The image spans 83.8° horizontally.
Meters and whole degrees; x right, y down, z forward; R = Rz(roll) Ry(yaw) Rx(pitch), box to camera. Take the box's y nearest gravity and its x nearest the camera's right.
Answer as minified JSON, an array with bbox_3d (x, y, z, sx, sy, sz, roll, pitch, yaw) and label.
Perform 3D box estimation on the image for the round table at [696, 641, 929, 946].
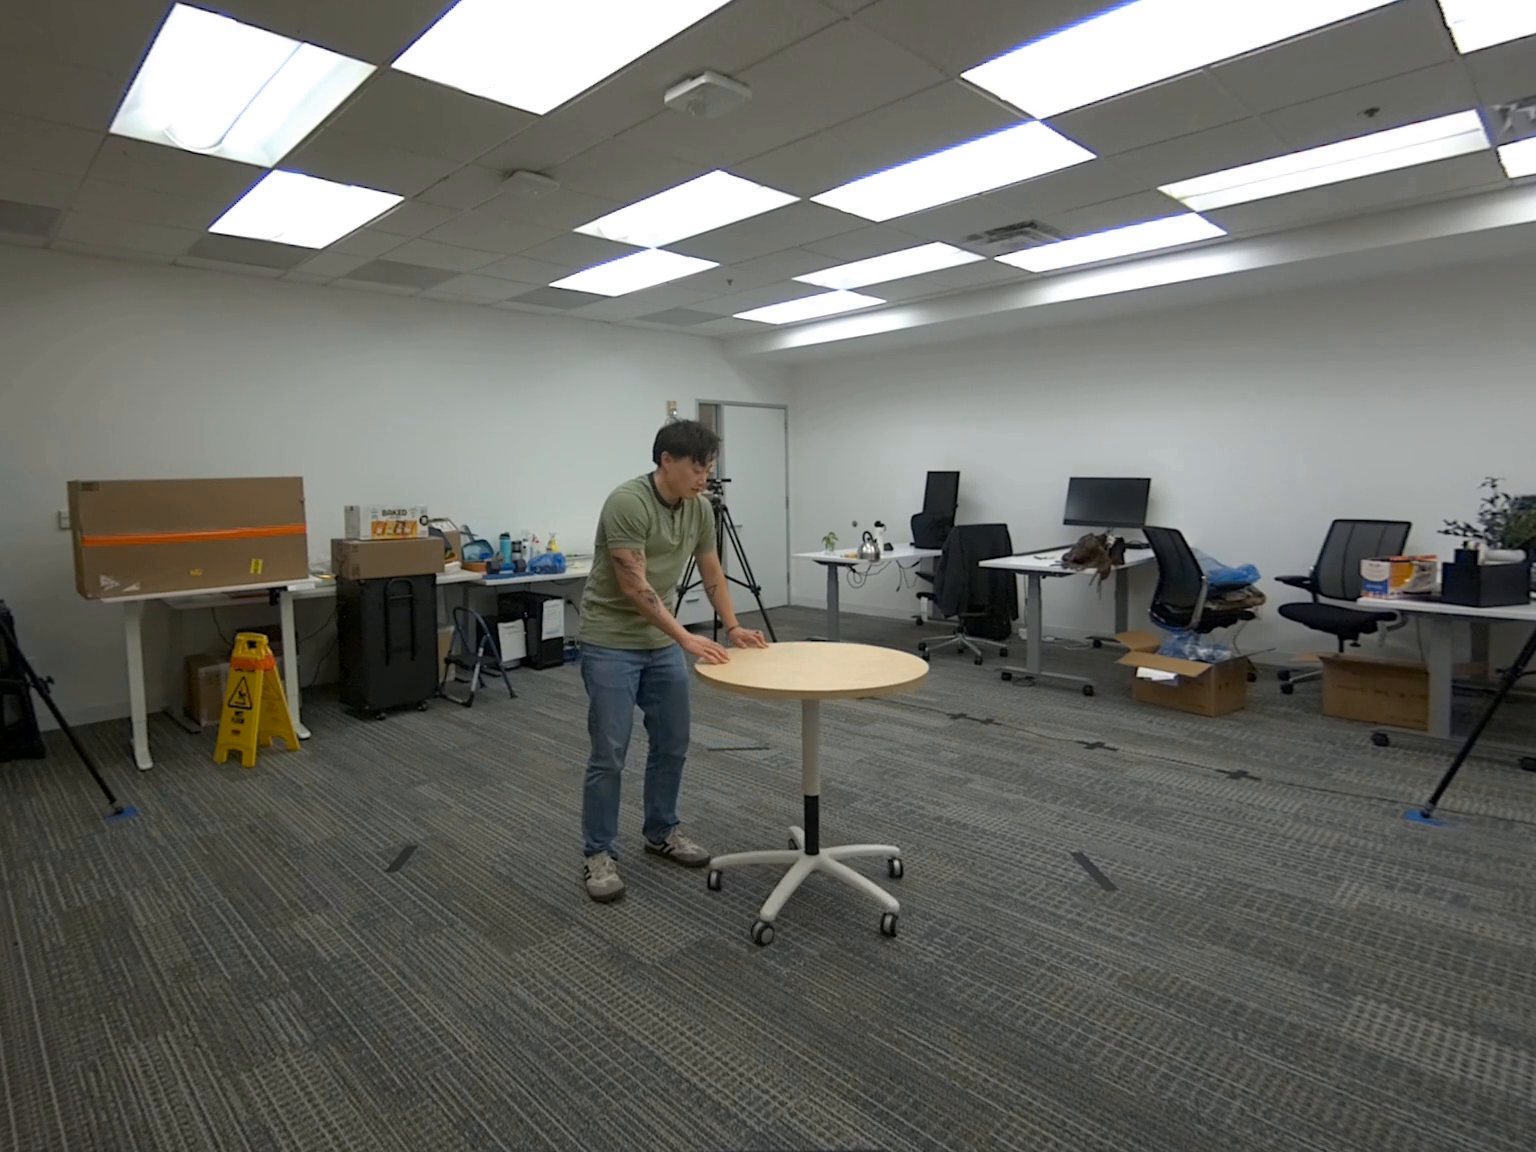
[{"bbox_3d":[0.144,0.681,2.847,0.763,0.791,0.768,-1,5,-2],"label":"round table"}]
